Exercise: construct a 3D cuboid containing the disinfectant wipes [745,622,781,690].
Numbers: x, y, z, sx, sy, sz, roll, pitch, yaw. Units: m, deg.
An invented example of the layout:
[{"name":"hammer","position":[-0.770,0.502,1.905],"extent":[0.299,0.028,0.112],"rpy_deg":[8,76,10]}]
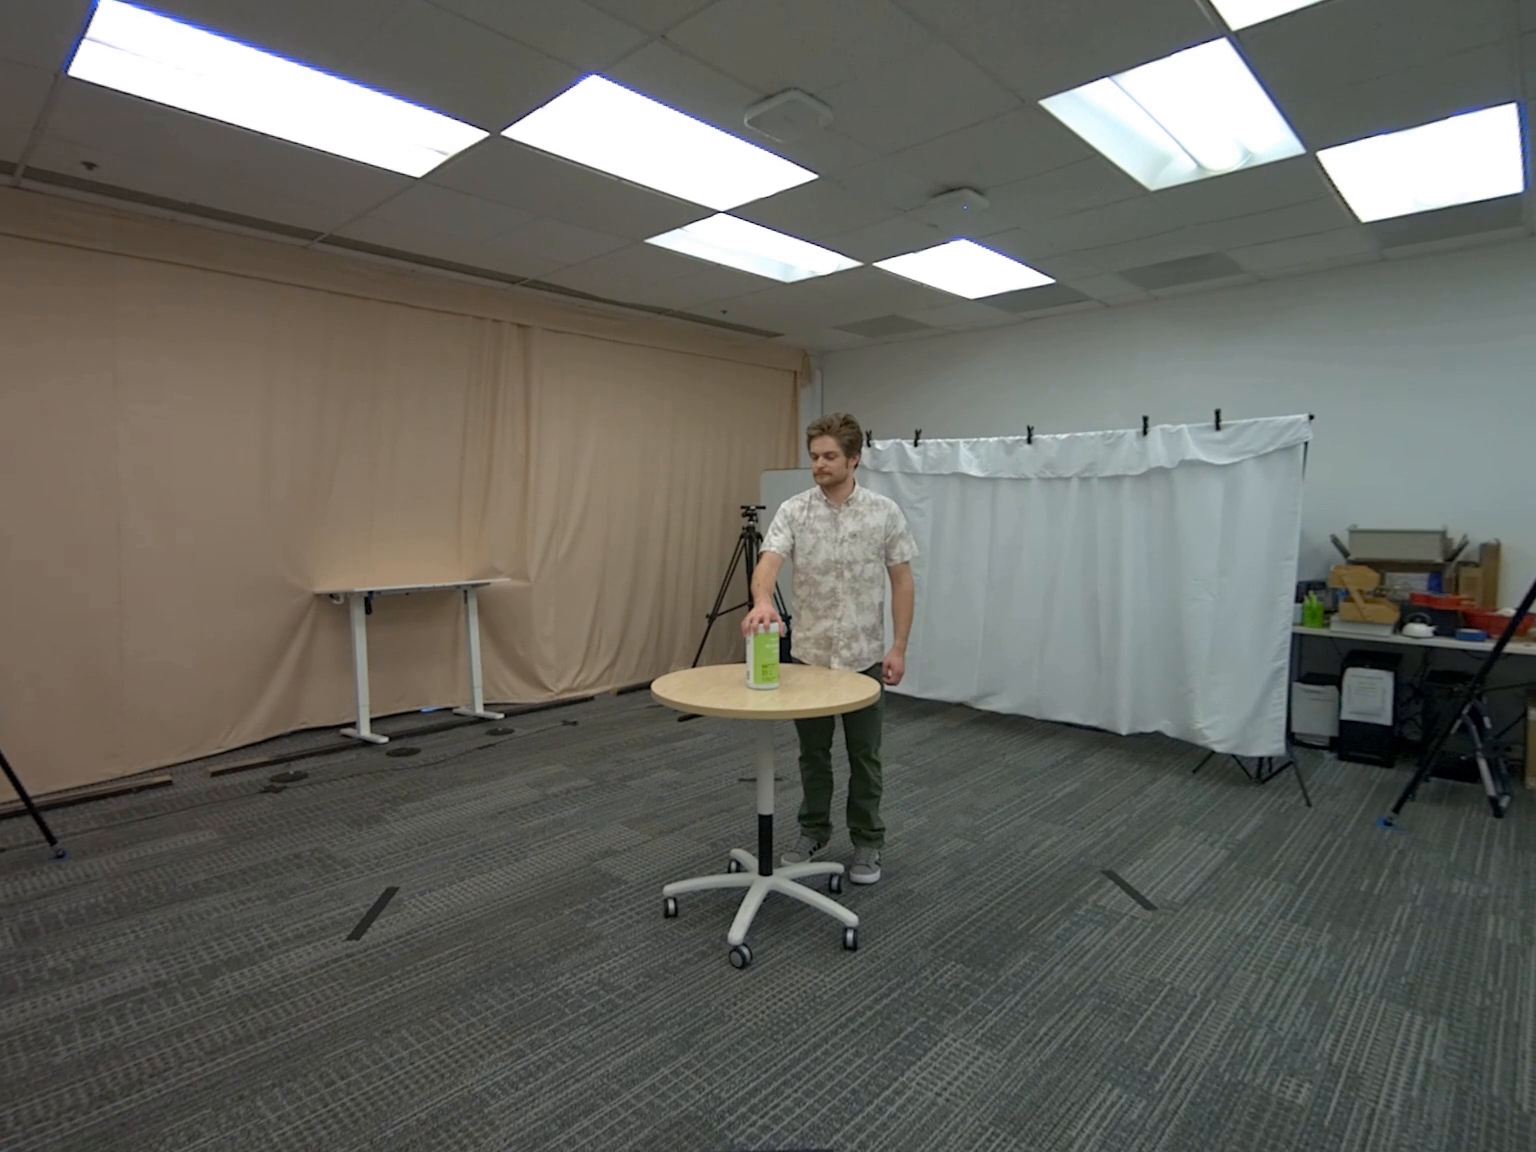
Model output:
[{"name":"disinfectant wipes","position":[-0.016,0.262,2.781],"extent":[0.118,0.217,0.118],"rpy_deg":[0,3,-2]}]
